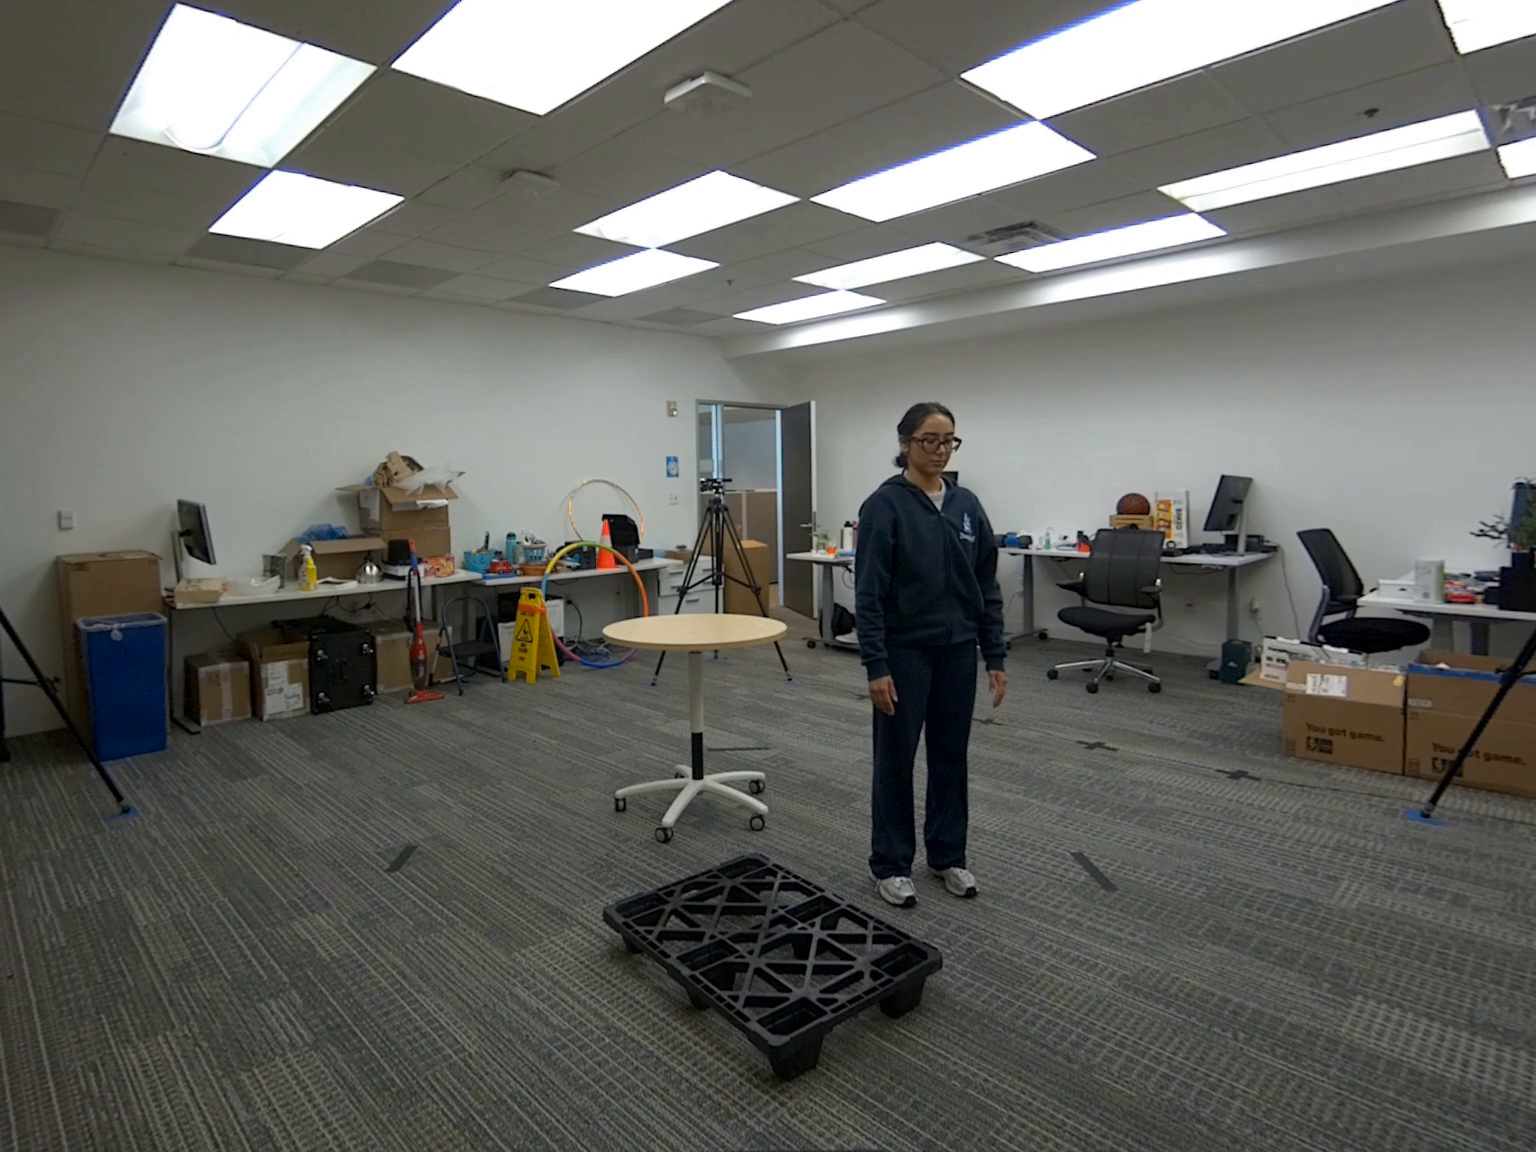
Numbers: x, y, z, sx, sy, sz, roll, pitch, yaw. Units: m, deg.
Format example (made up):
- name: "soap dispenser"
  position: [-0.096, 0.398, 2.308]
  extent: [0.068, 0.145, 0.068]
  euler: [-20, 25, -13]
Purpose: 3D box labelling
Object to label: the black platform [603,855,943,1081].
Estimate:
- name: "black platform"
  position: [-0.010, 1.061, 2.408]
  extent: [0.589, 0.142, 0.831]
  euler: [-6, 8, -38]
